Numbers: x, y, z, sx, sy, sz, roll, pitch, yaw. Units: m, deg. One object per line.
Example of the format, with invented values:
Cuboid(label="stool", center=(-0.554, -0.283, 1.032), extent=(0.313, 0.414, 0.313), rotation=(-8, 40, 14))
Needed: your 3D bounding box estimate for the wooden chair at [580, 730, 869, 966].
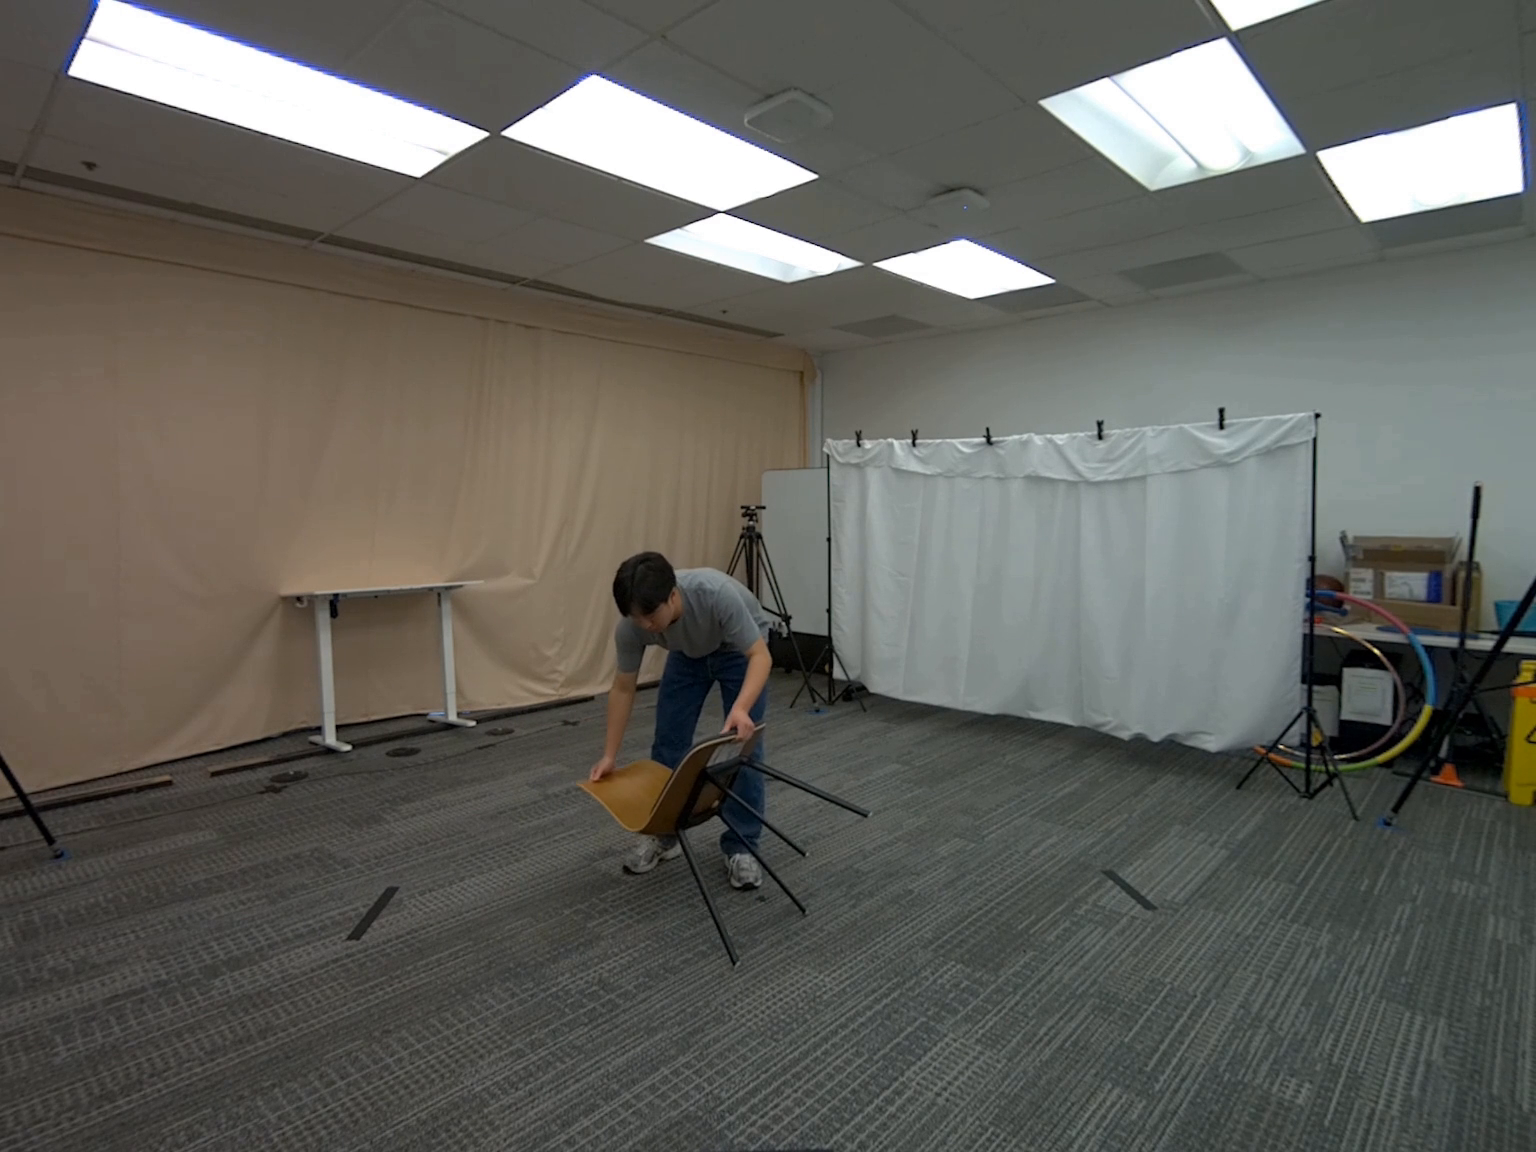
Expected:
Cuboid(label="wooden chair", center=(-0.184, 0.734, 2.815), extent=(0.905, 0.522, 0.464), rotation=(31, 17, 27))
